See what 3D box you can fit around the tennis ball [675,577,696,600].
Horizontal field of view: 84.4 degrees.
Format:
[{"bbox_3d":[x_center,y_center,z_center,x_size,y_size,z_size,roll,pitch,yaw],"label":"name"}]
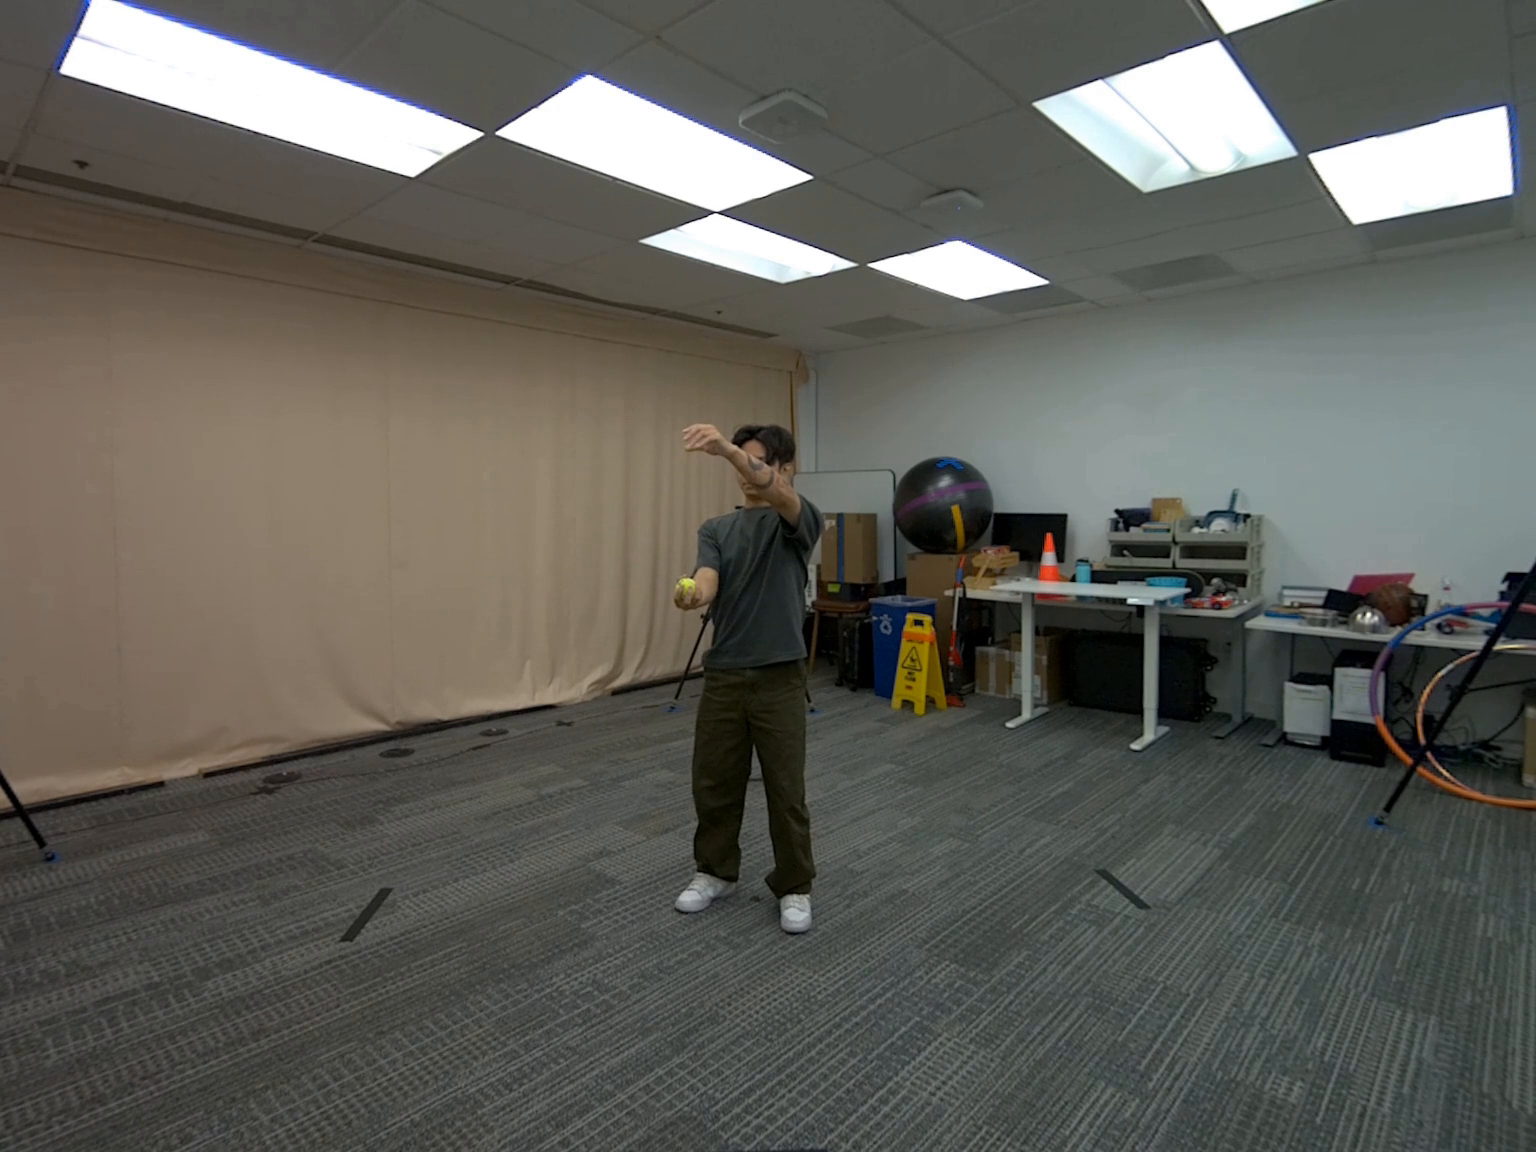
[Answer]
[{"bbox_3d":[-0.239,0.014,2.470,0.066,0.066,0.067,0,4,-2],"label":"tennis ball"}]
